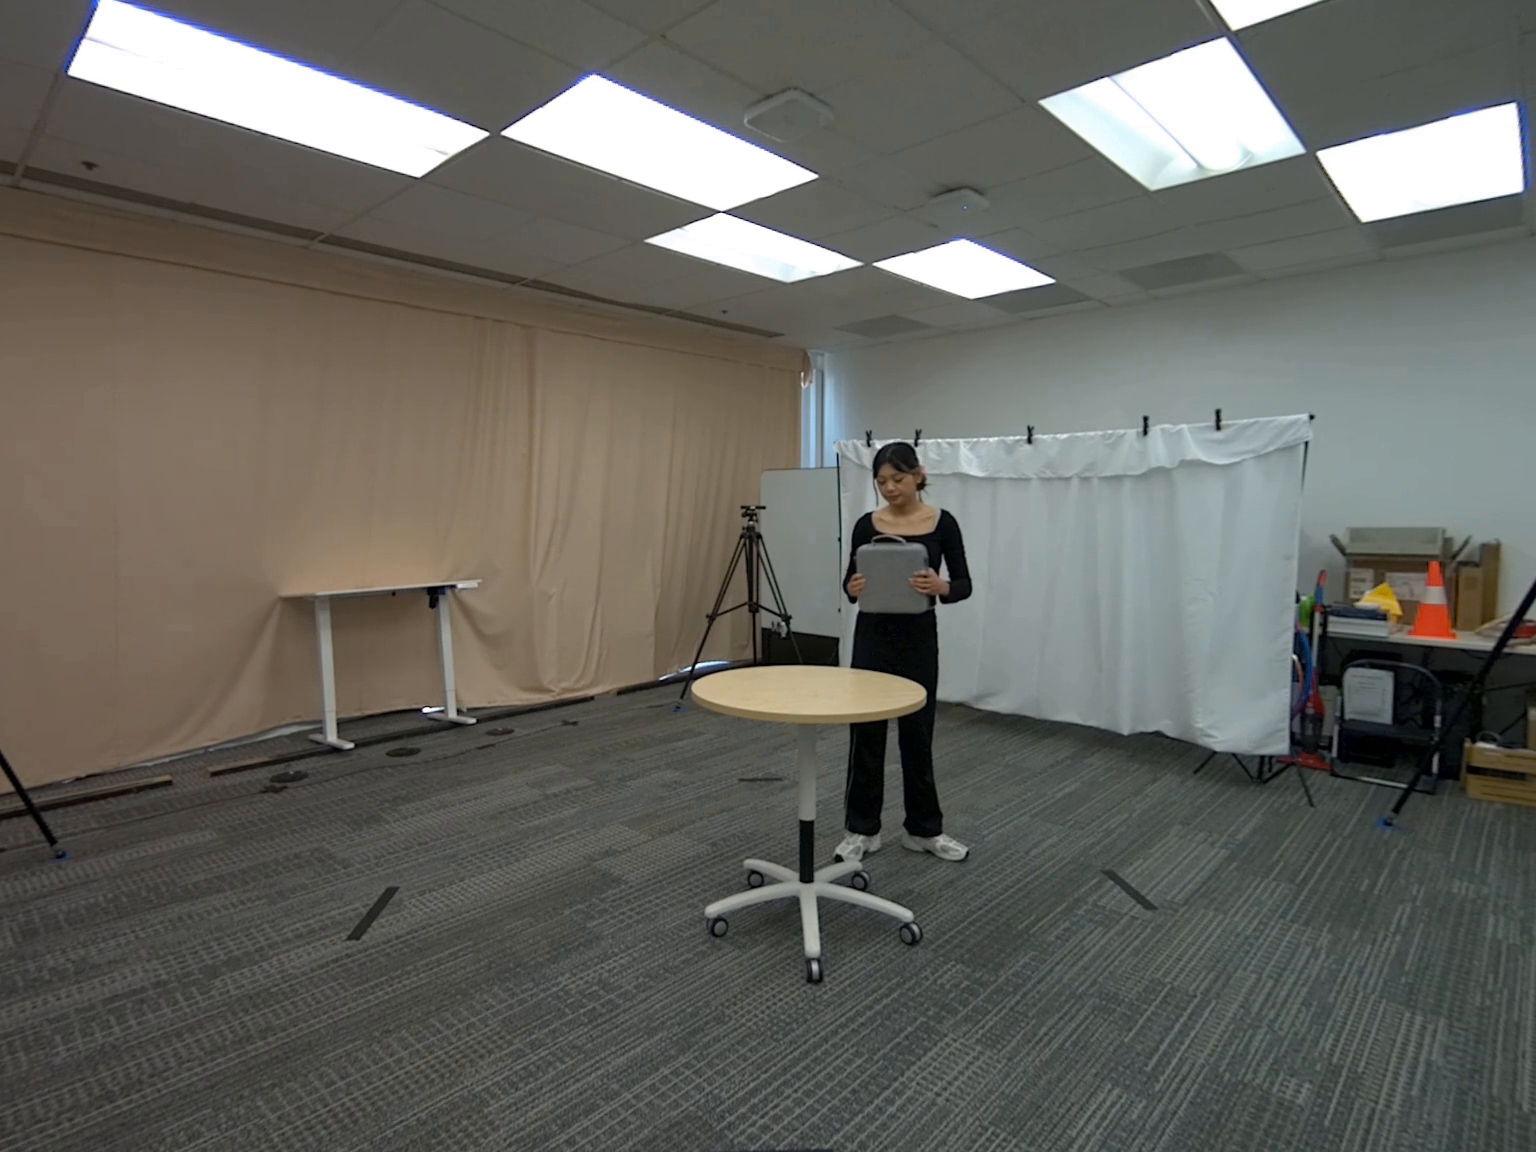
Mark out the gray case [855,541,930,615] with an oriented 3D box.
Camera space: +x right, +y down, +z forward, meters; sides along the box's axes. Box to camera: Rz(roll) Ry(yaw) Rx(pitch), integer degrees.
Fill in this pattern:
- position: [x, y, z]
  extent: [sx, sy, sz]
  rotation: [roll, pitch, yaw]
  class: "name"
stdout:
- position: [0.460, 0.005, 3.116]
  extent: [0.263, 0.259, 0.102]
  rotation: [-1, 10, 24]
  class: "gray case"
